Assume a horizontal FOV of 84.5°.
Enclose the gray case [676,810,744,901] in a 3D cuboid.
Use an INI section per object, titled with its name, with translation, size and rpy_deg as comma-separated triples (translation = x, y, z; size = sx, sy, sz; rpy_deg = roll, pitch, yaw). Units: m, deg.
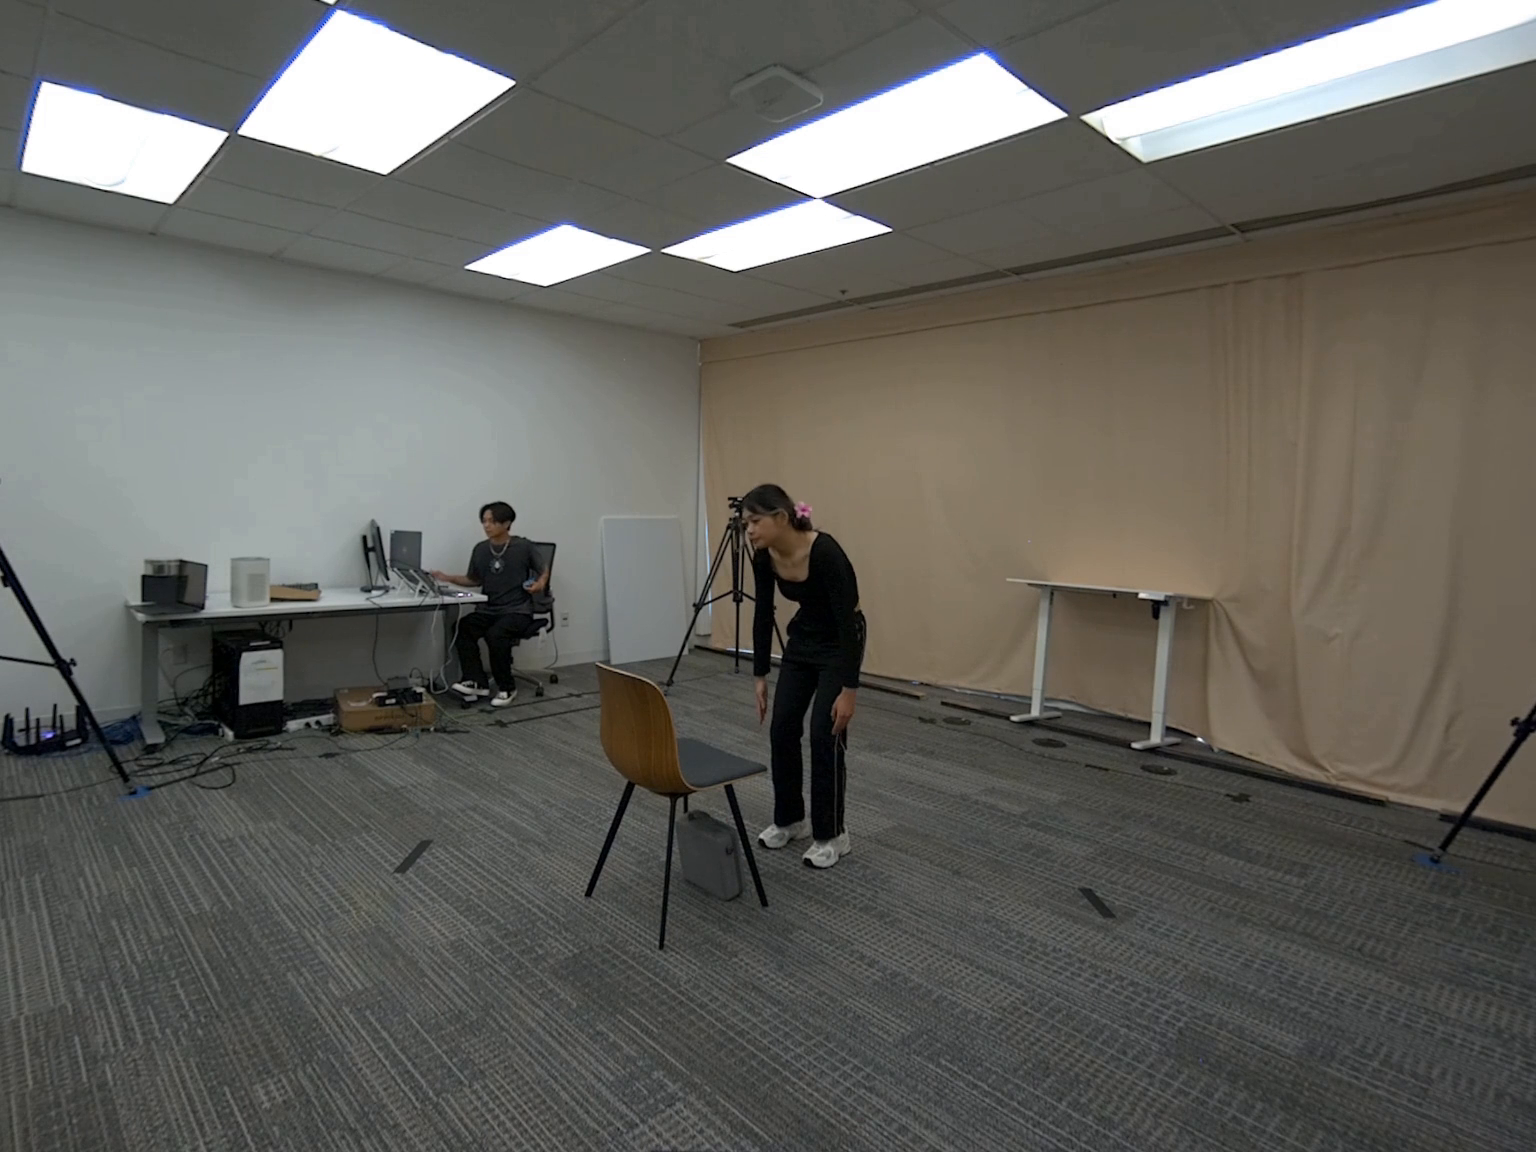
[gray case]
translation = -0.216, 0.980, 2.990
size = 0.103, 0.258, 0.263
rpy_deg = -18, 16, -41
